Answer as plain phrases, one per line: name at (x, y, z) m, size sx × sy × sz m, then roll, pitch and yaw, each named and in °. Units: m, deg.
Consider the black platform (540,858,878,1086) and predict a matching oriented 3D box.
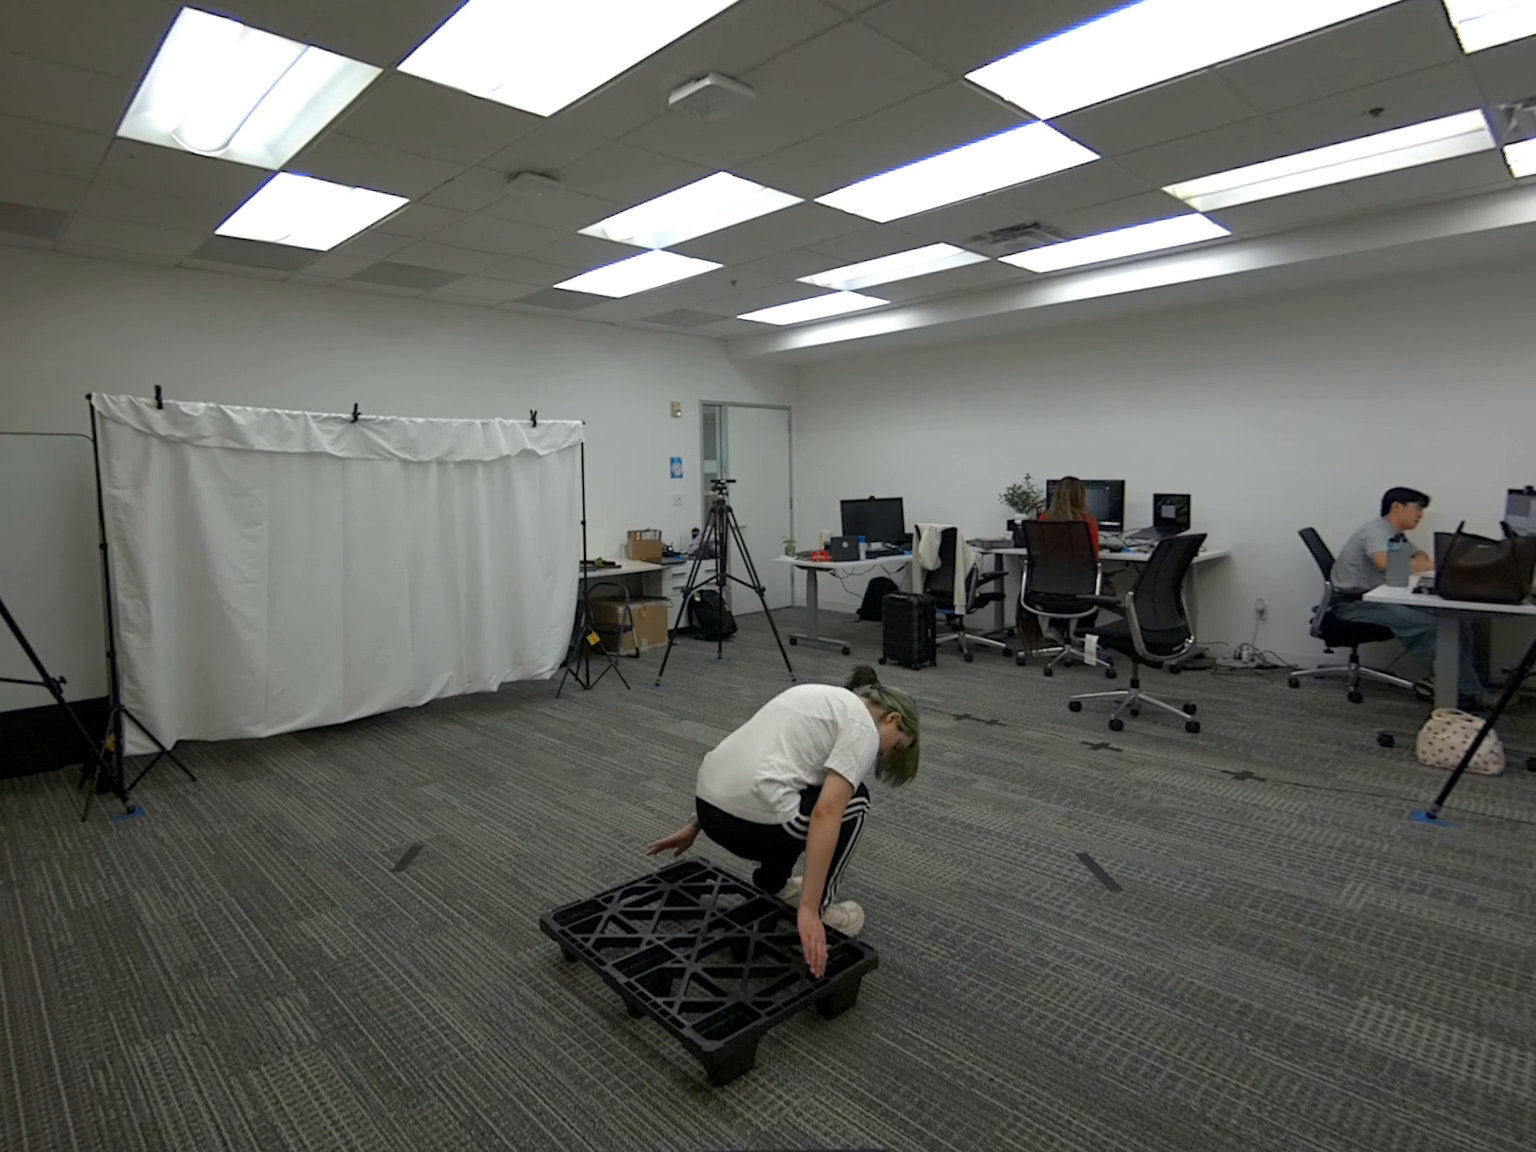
black platform at (-0.186, 1.066, 2.398) m, size 0.589 × 0.142 × 0.831 m, roll -6°, pitch 9°, yaw -41°
